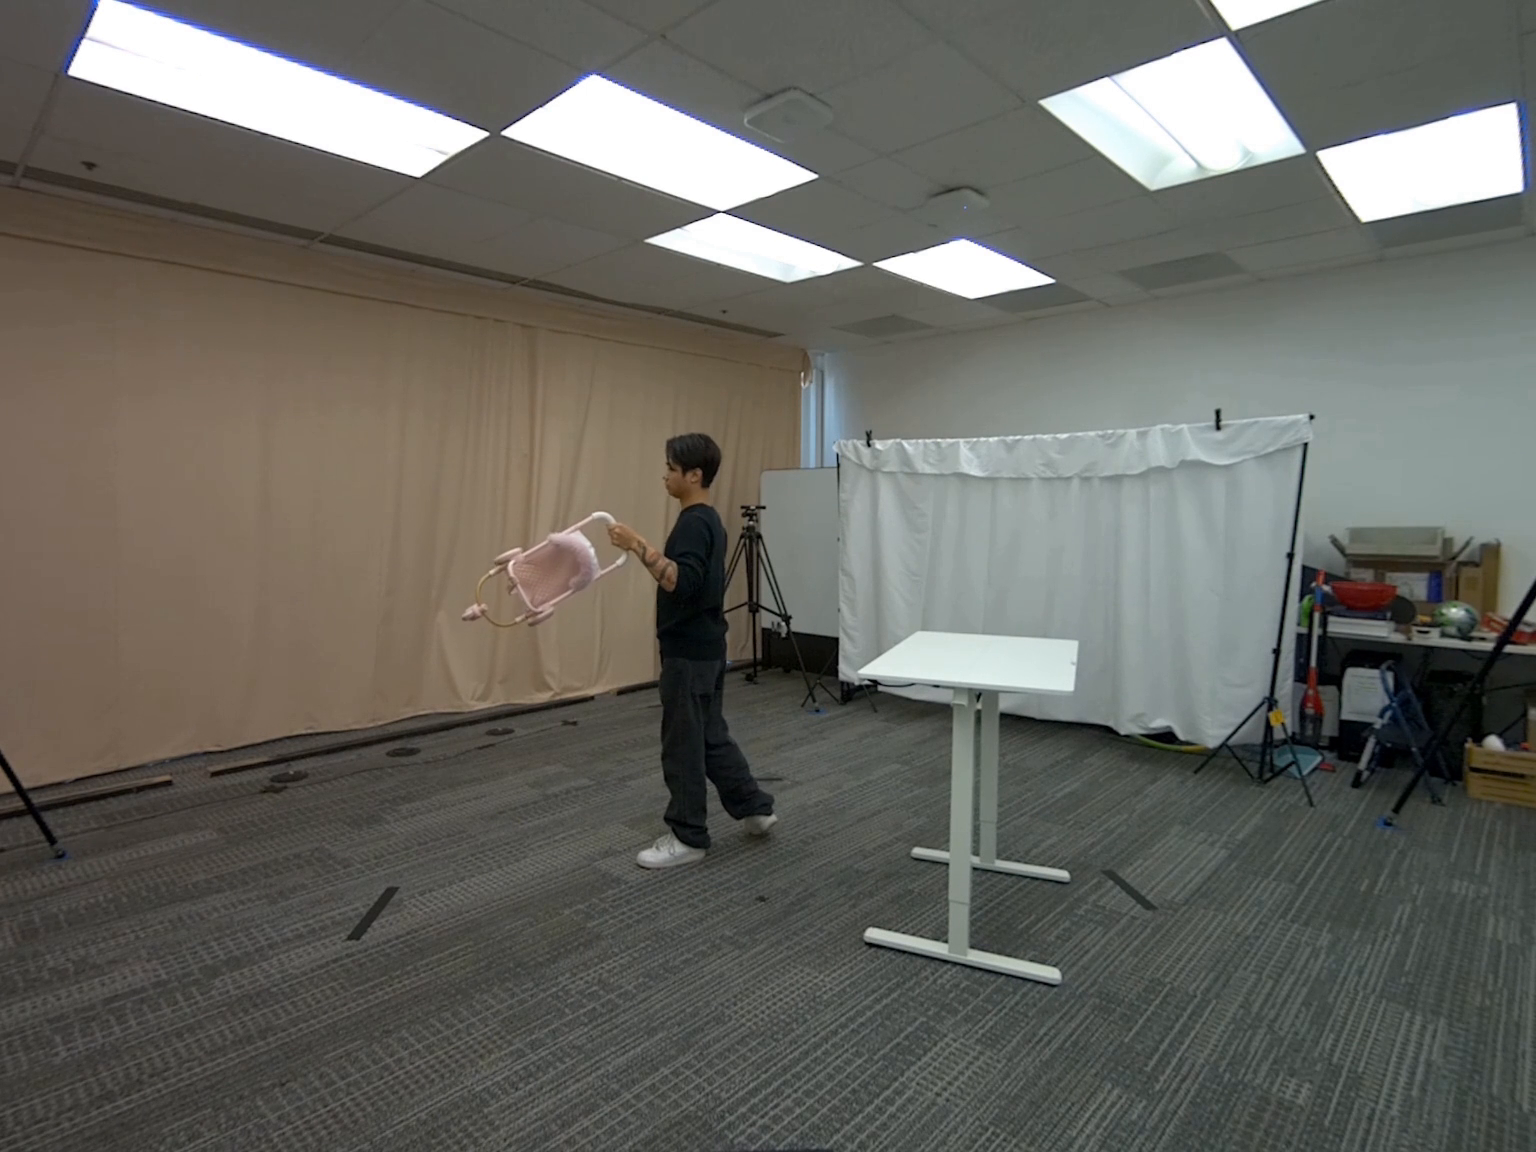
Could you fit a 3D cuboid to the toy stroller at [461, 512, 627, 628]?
[{"bbox_3d":[-0.754,0.000,2.907,0.543,0.280,0.338,-25,5,21],"label":"toy stroller"}]
